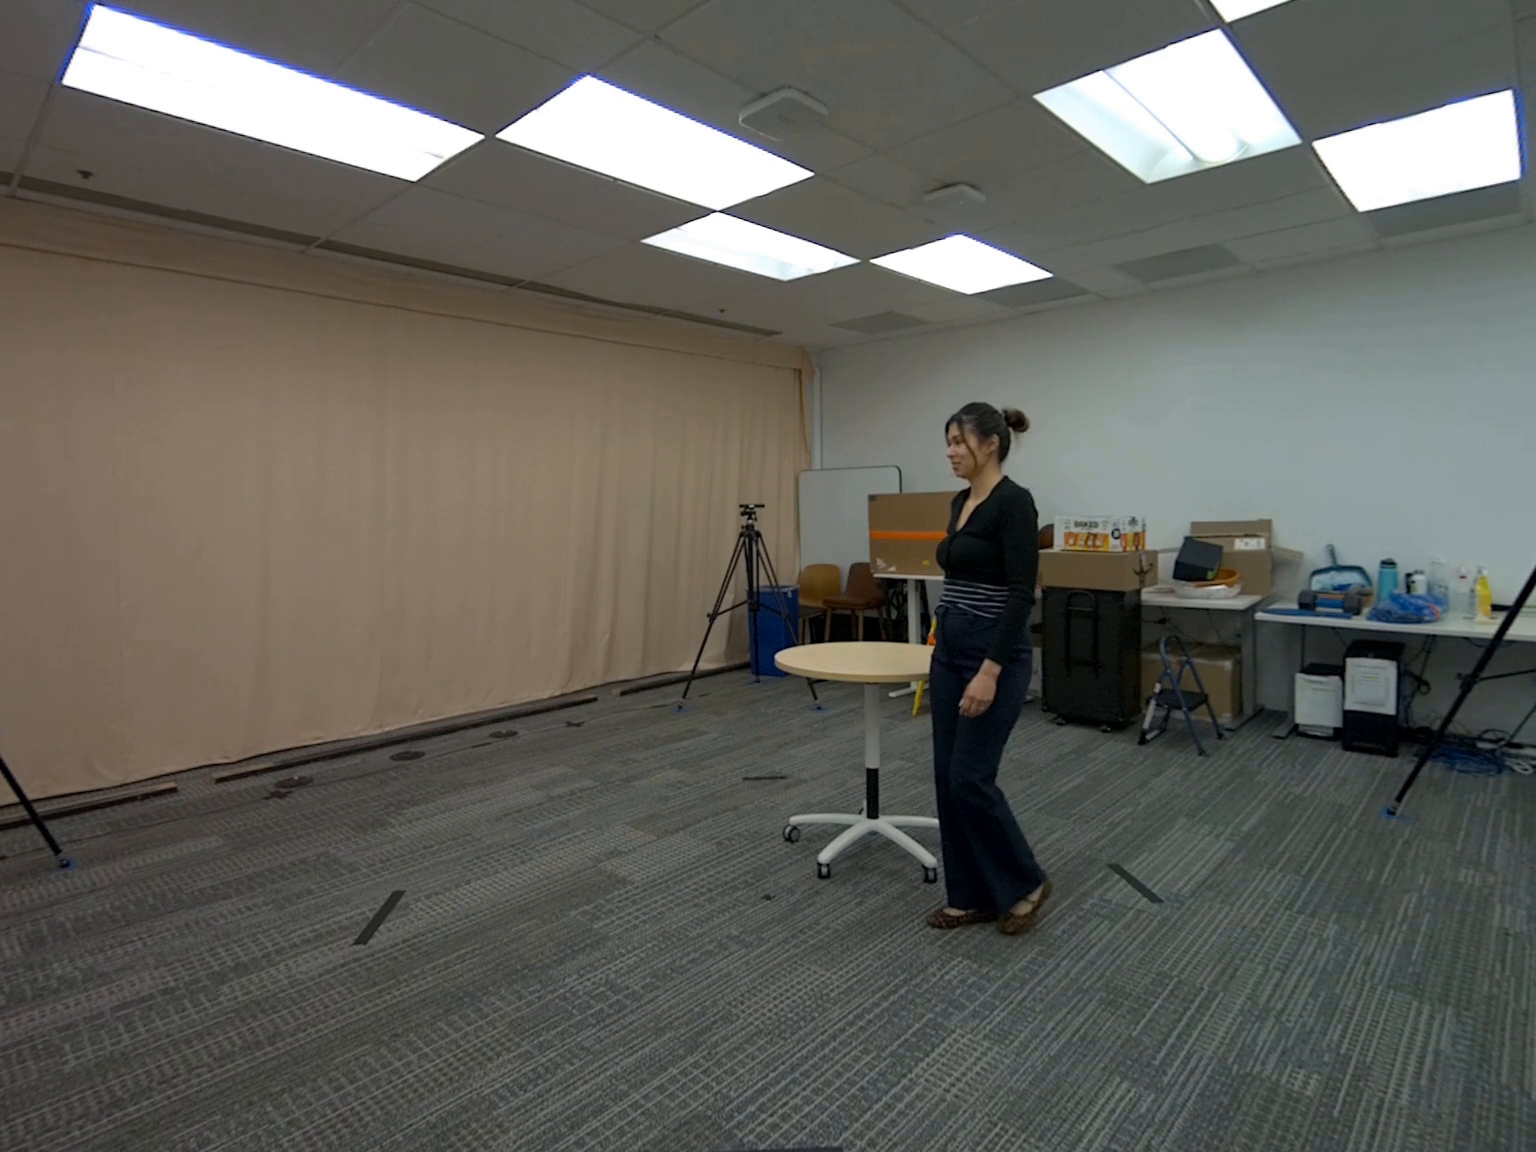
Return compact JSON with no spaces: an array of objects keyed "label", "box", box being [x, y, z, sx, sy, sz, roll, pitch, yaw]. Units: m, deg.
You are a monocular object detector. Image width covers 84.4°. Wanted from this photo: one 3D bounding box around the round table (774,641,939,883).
[{"label":"round table","box":[0.412,0.713,3.345,0.763,0.792,0.766,-1,3,-2]}]
